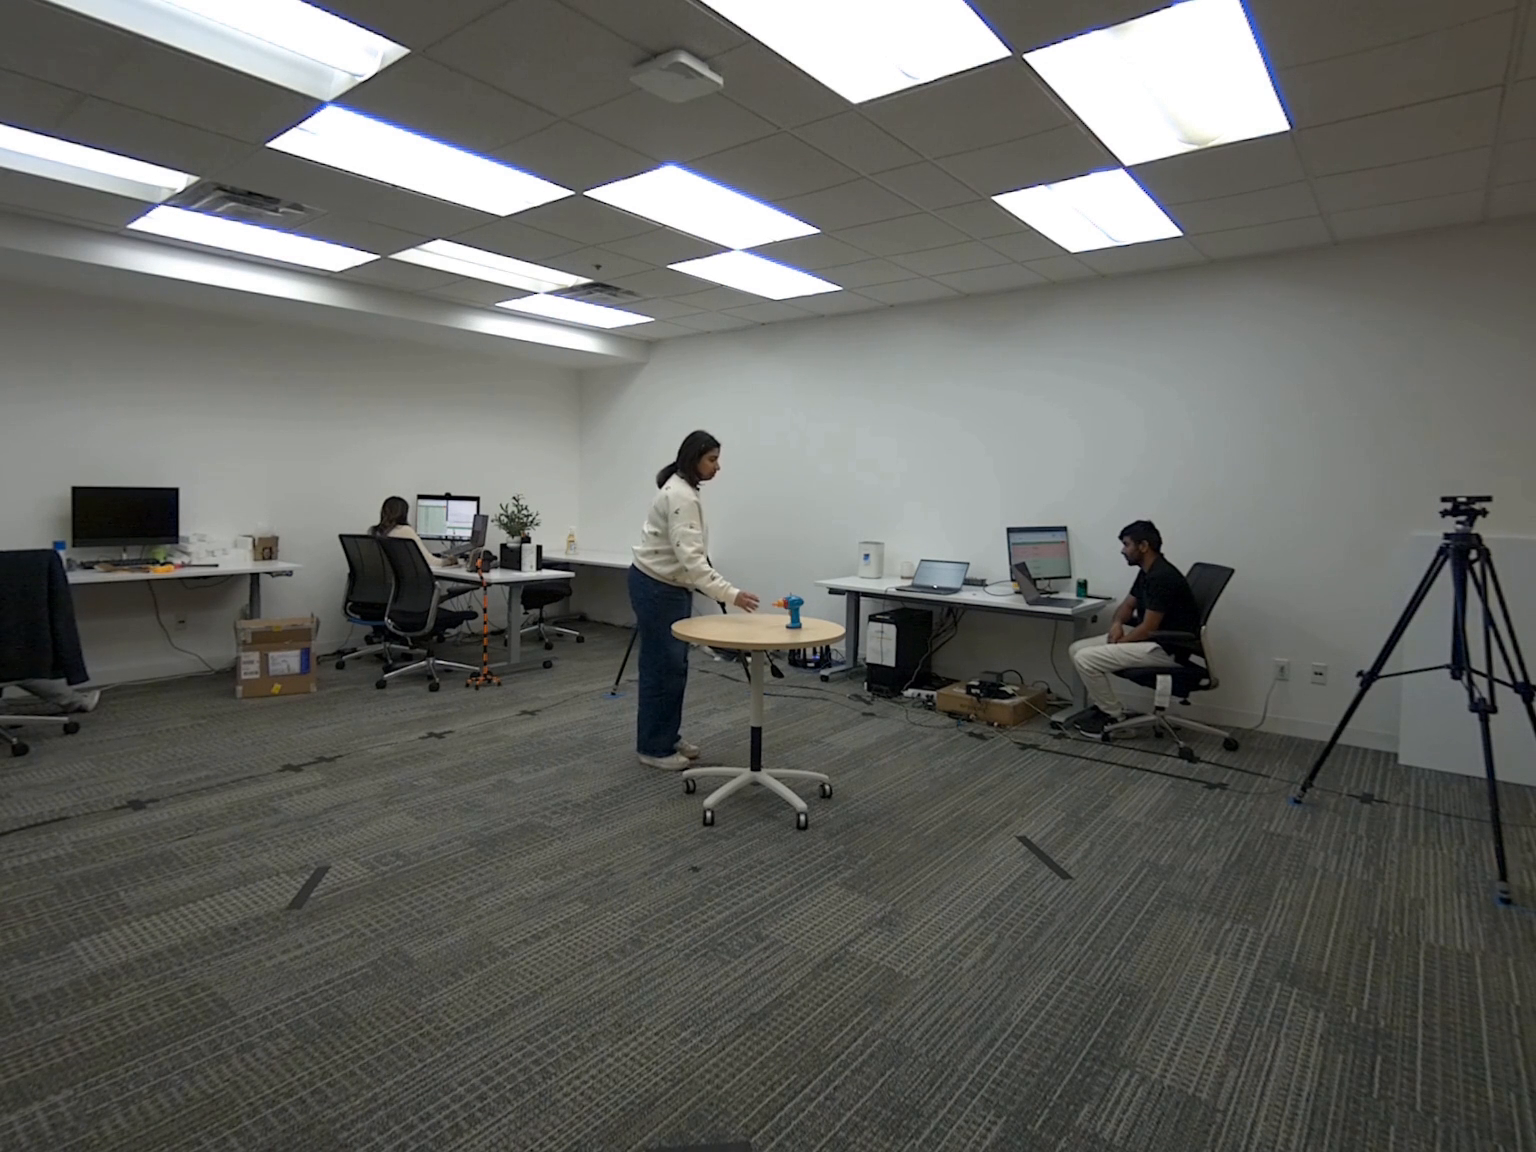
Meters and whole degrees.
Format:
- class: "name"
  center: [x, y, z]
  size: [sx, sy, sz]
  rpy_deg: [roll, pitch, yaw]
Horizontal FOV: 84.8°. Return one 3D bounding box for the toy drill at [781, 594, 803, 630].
- class: "toy drill"
  center: [0.077, 0.154, 3.727]
  size: [0.165, 0.145, 0.063]
  rpy_deg: [-3, 7, -31]
